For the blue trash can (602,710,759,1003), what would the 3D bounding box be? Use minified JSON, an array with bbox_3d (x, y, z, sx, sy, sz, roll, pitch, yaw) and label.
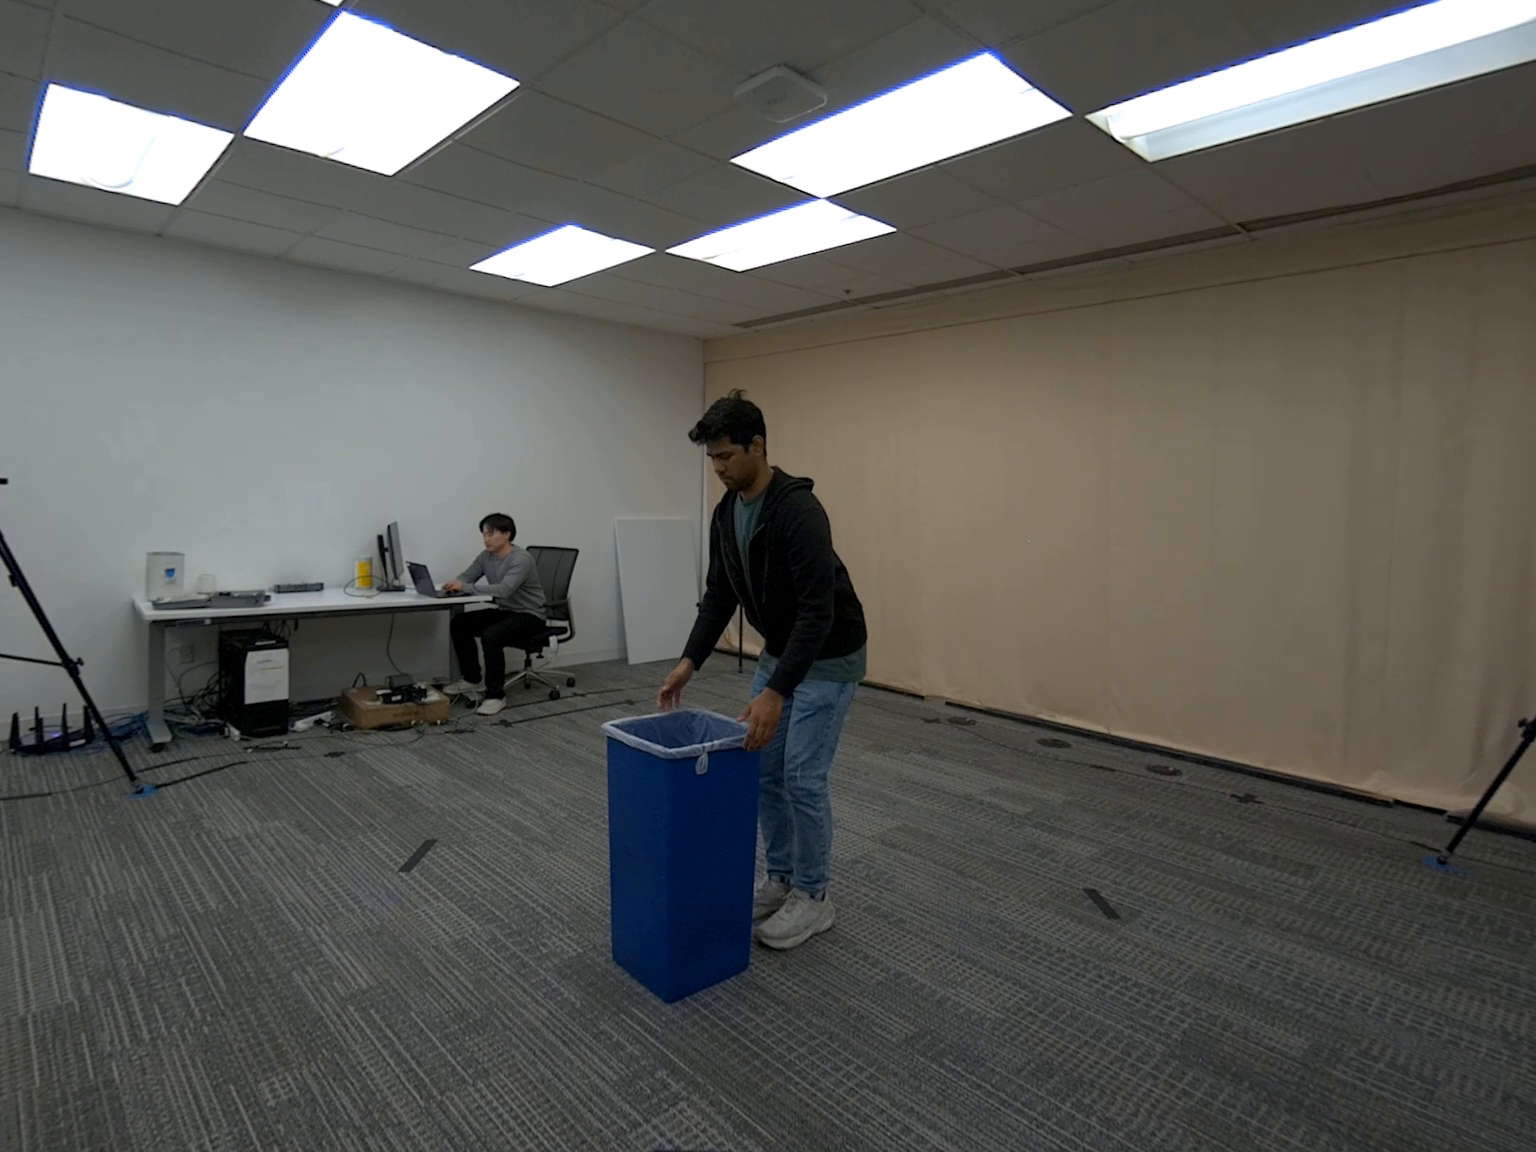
[{"bbox_3d":[-0.272,0.804,2.493,0.369,0.712,0.383,-1,4,-41],"label":"blue trash can"}]
